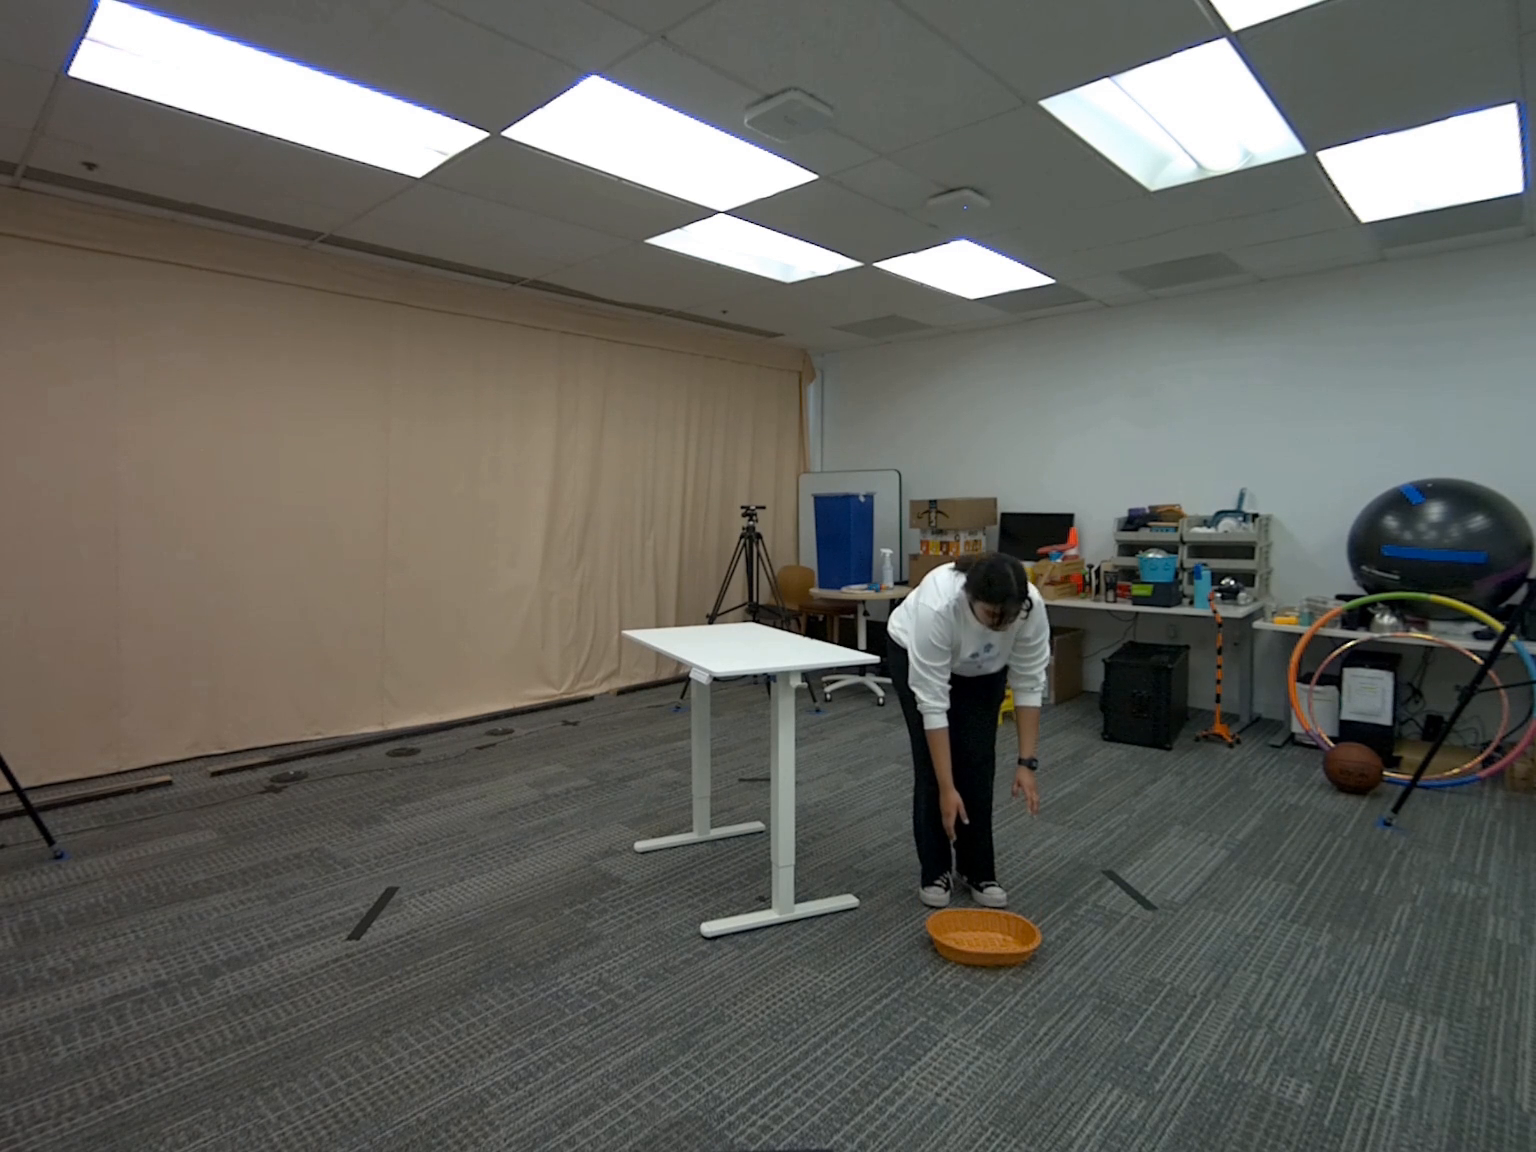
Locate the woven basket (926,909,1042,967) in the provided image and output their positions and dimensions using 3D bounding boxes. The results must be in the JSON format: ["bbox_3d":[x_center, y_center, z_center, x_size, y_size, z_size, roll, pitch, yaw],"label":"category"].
[{"bbox_3d":[0.671,1.128,2.629,0.351,0.073,0.252,0,7,2],"label":"woven basket"}]
